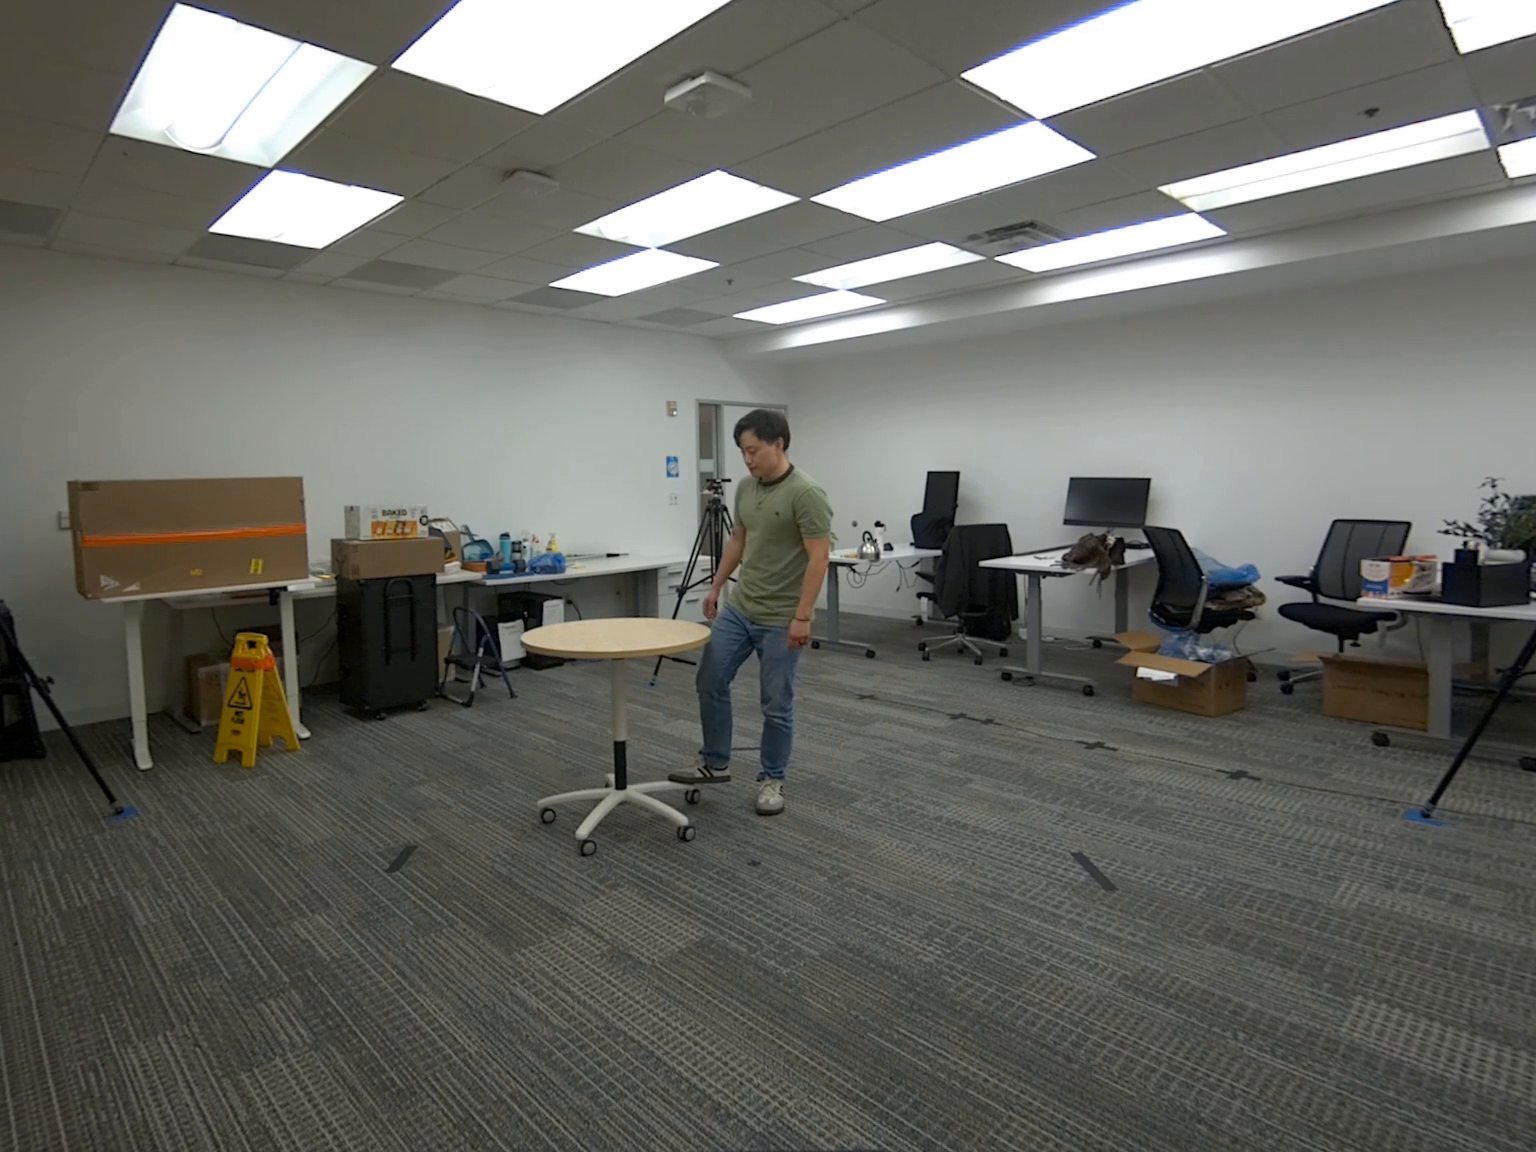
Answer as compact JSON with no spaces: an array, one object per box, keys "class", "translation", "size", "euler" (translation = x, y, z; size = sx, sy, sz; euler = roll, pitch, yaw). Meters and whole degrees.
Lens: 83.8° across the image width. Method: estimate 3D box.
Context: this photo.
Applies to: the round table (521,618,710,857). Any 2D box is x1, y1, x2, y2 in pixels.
[{"class":"round table","translation":[-0.610,0.625,3.478],"size":[0.763,0.791,0.768],"euler":[-1,5,-2]}]
